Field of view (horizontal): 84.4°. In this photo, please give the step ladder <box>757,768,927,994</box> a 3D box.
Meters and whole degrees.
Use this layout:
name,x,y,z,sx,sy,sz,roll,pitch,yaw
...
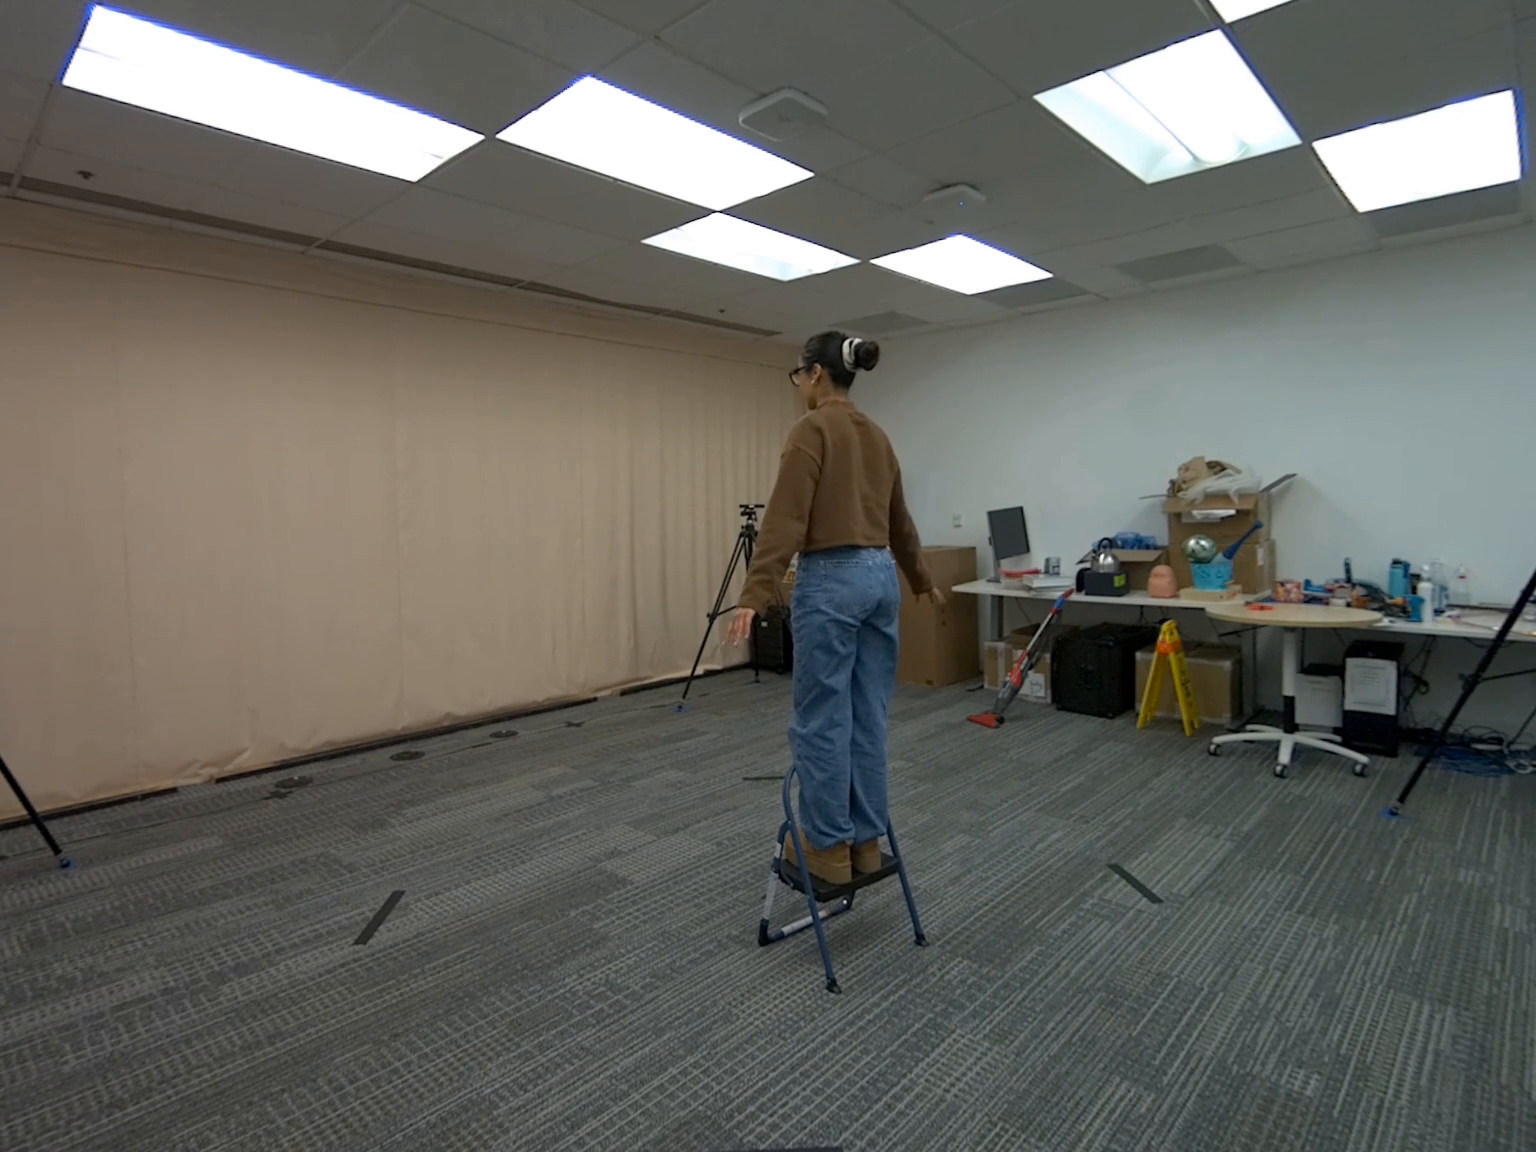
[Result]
name,x,y,z,sx,sy,sz,roll,pitch,yaw
step ladder,0.232,0.865,2.642,0.418,0.605,0.361,-4,4,-40
